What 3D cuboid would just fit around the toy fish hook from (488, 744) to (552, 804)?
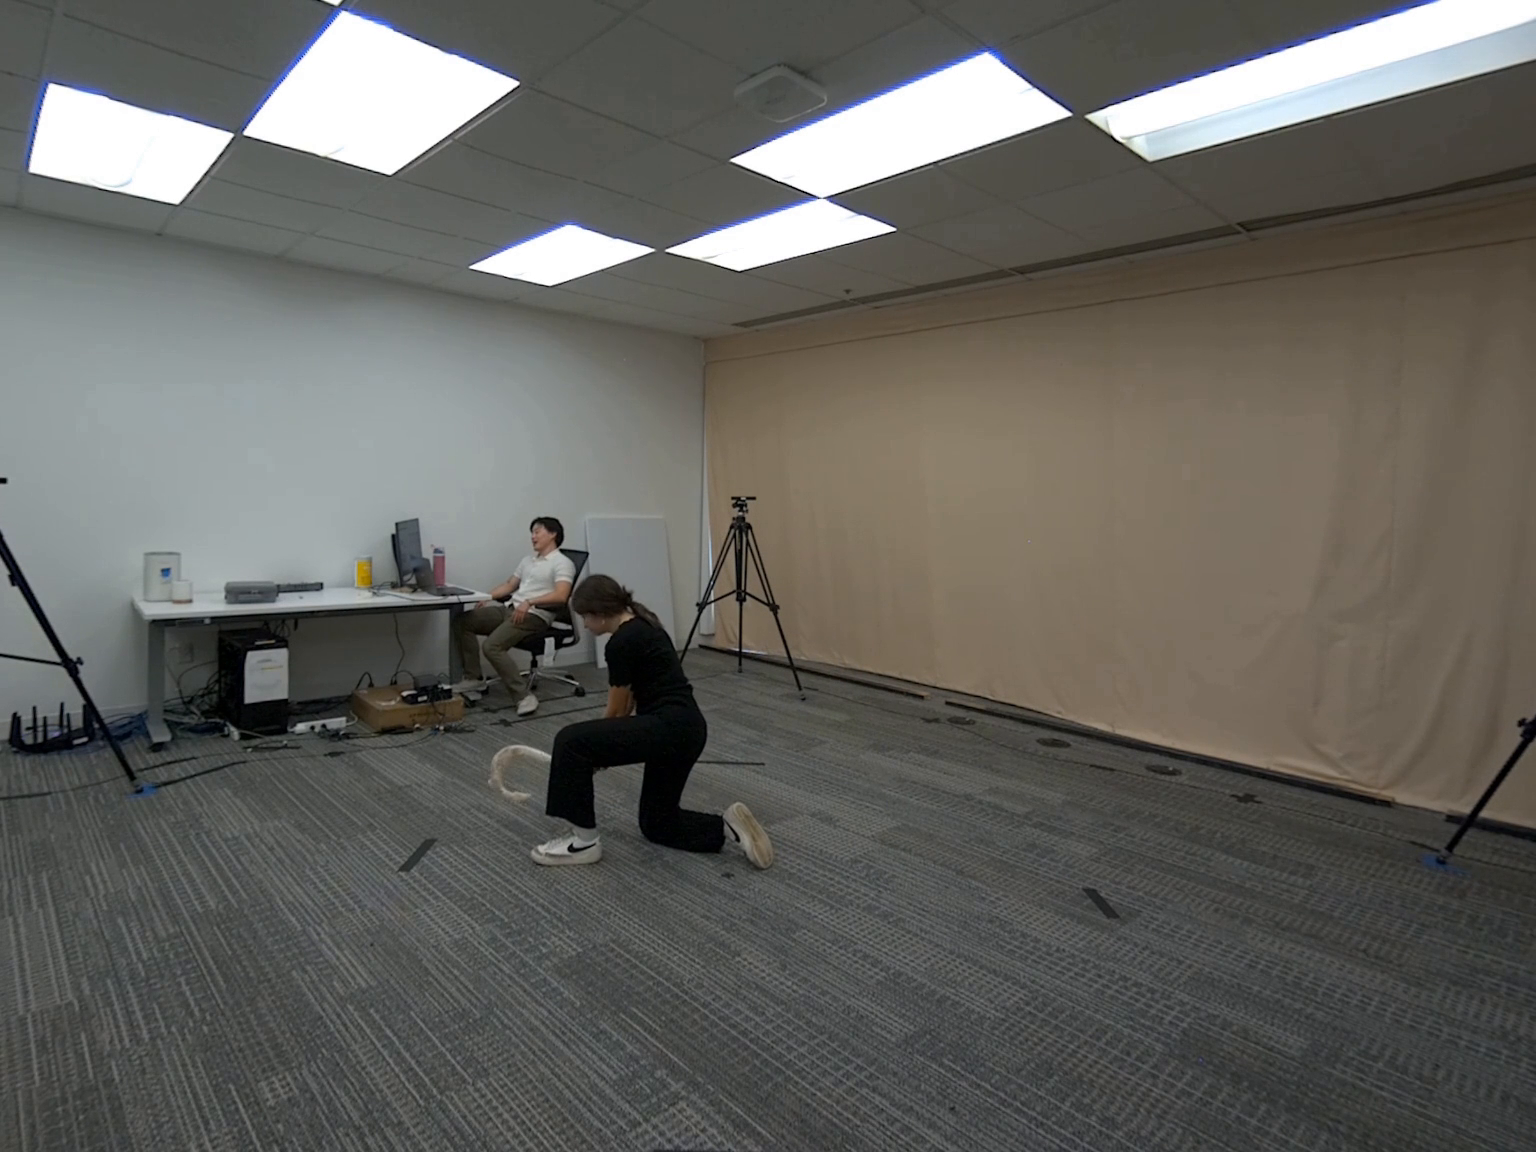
[{"bbox_3d":[-0.904,0.826,3.456,0.511,0.227,0.047,1,-13,10],"label":"toy fish hook"}]
